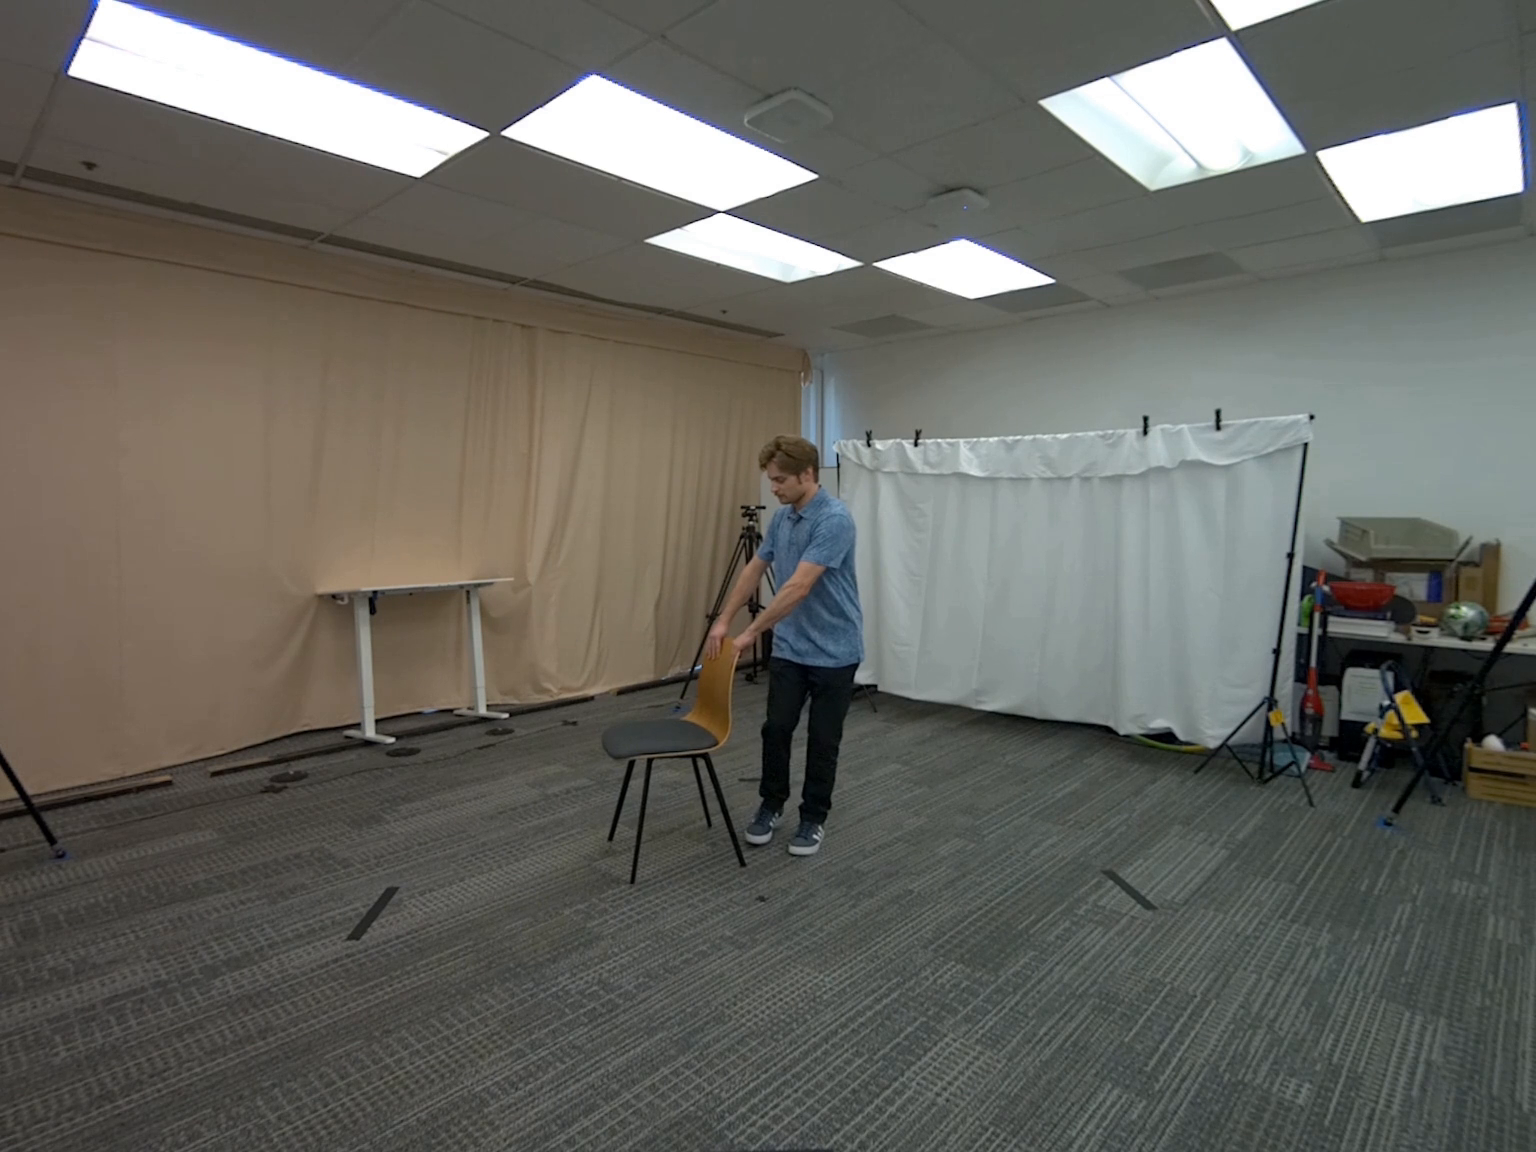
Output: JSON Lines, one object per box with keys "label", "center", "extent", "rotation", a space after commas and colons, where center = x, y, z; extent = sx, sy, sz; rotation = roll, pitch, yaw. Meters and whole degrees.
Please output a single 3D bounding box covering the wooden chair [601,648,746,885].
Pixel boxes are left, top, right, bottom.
{"label": "wooden chair", "center": [-0.388, 0.687, 3.351], "extent": [0.512, 0.876, 0.488], "rotation": [3, 2, -20]}
